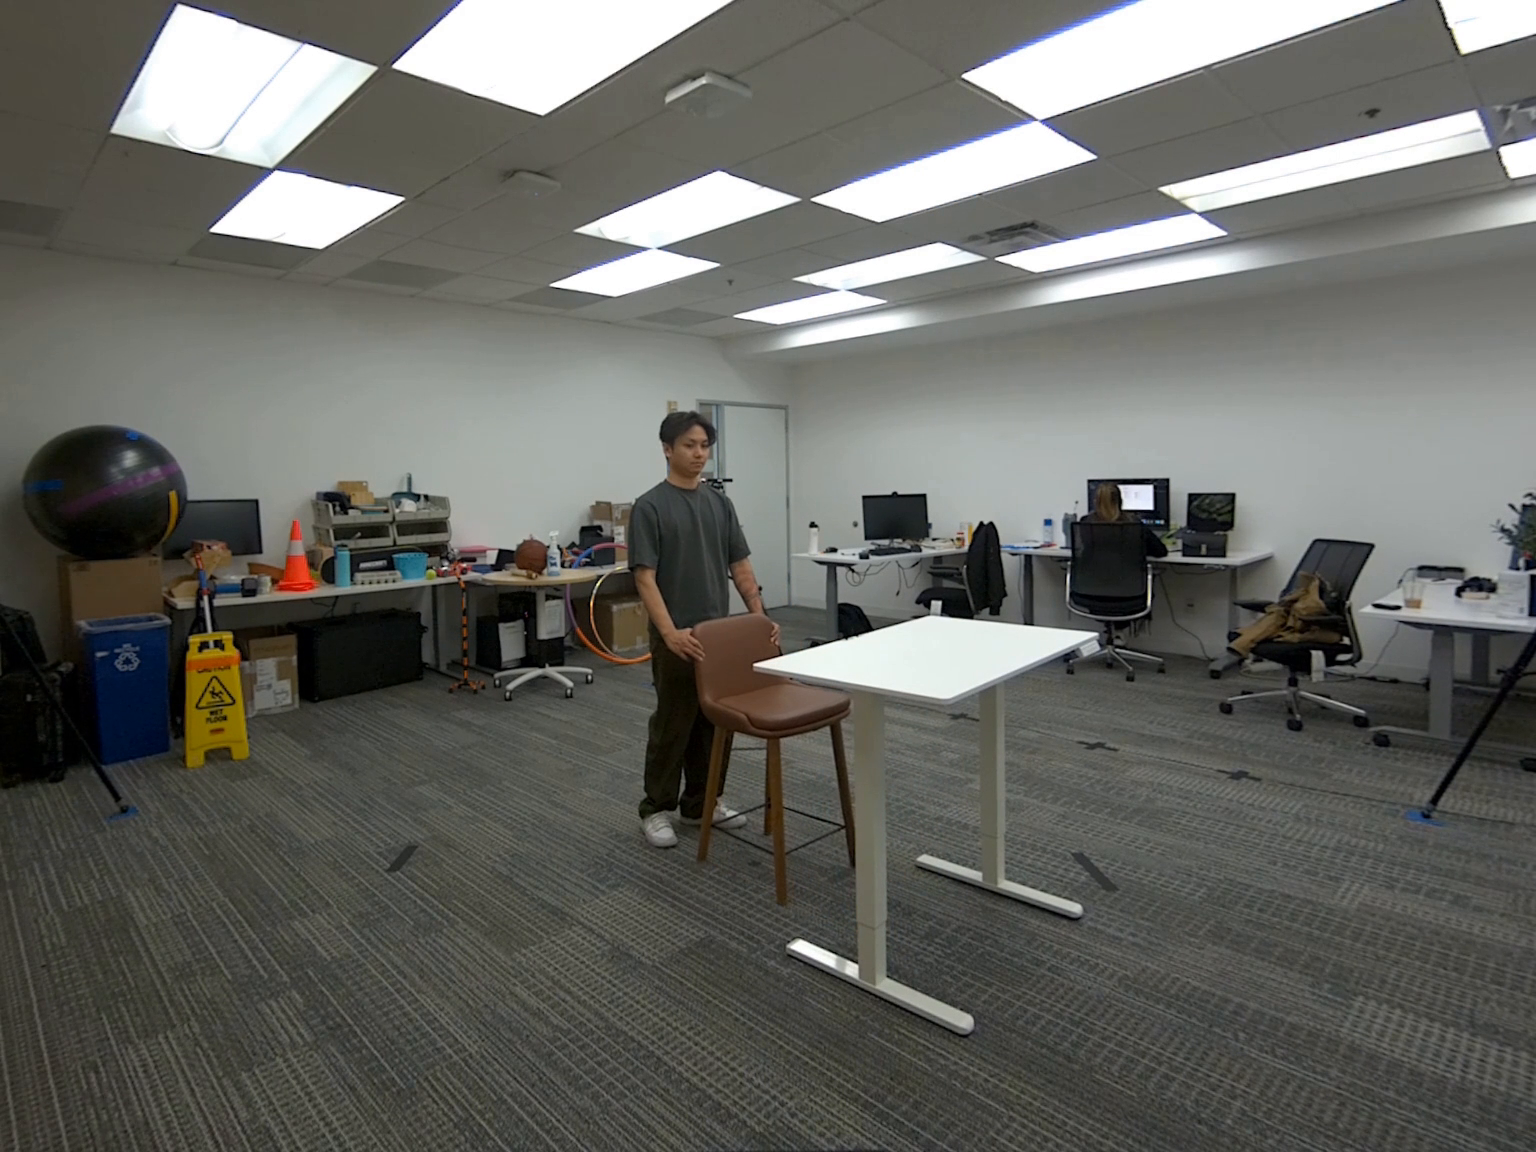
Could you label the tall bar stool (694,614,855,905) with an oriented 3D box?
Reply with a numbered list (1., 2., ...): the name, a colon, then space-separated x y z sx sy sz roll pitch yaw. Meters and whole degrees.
1. tall bar stool: 0.016 0.607 3.076 0.444 0.888 0.481 -4 3 -43
